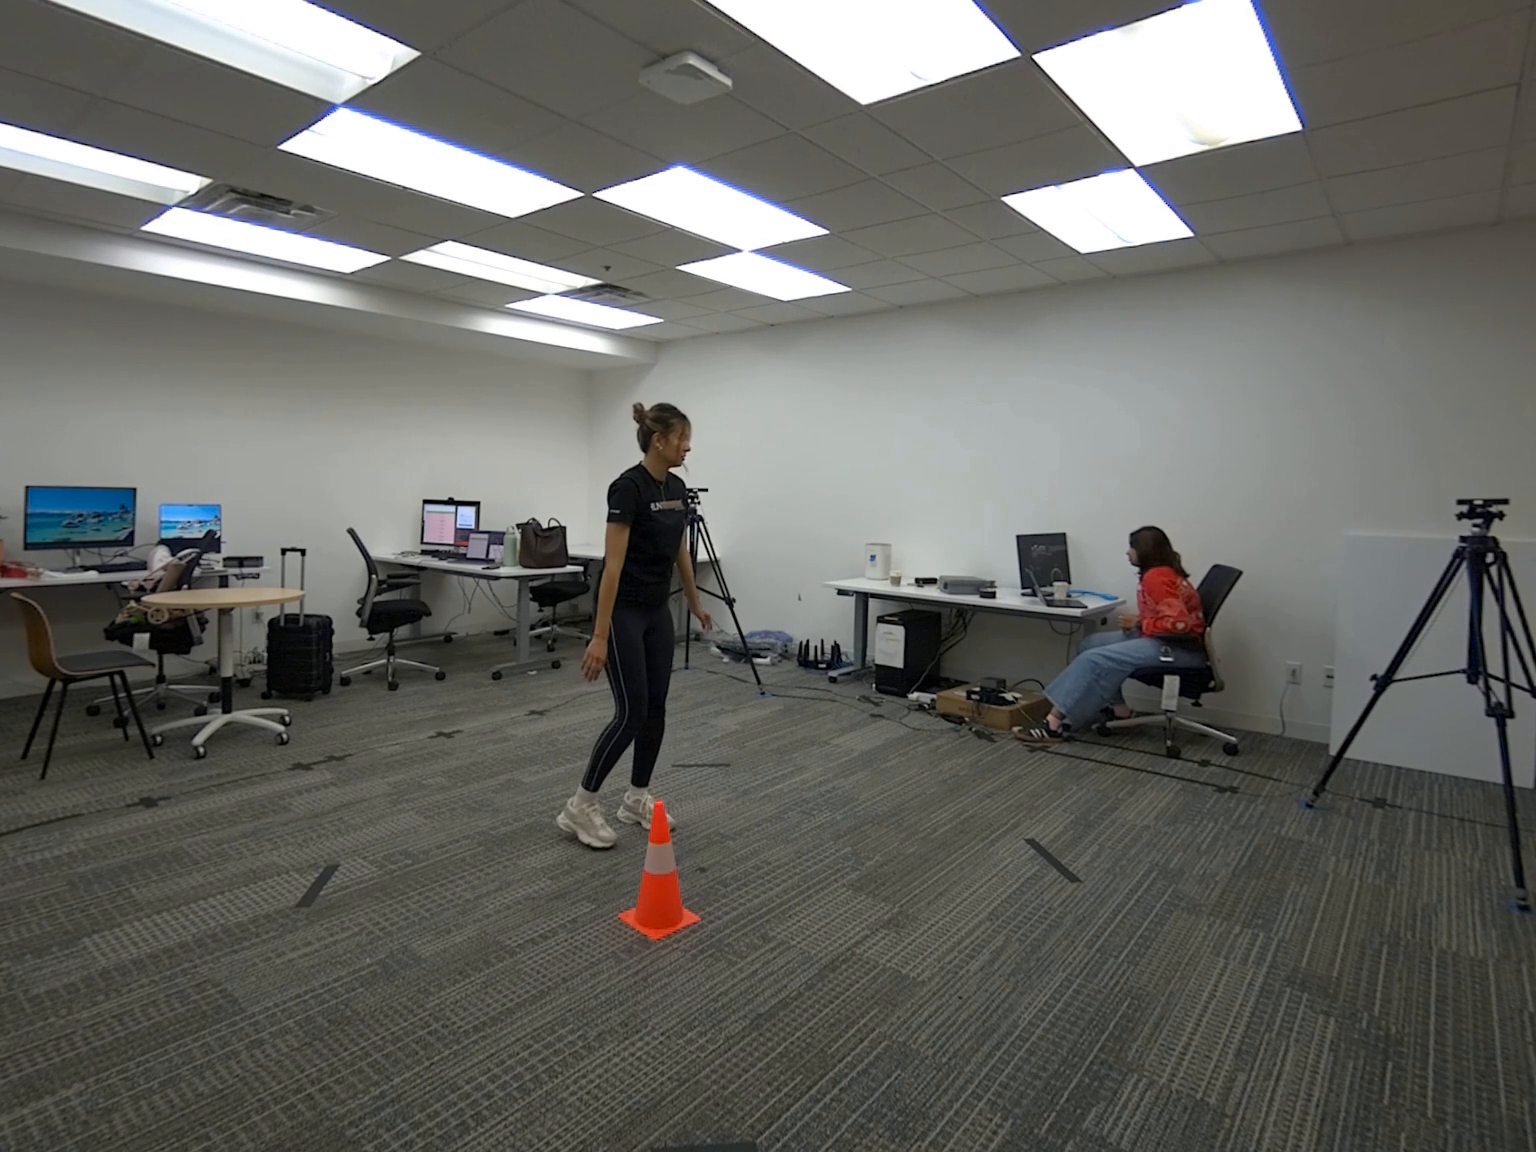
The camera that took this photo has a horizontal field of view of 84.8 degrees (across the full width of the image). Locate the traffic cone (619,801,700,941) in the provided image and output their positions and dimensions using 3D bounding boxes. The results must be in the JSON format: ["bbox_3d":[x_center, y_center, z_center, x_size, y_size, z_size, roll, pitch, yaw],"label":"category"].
[{"bbox_3d":[-0.355,0.919,2.741,0.197,0.382,0.212,-3,5,-38],"label":"traffic cone"}]
